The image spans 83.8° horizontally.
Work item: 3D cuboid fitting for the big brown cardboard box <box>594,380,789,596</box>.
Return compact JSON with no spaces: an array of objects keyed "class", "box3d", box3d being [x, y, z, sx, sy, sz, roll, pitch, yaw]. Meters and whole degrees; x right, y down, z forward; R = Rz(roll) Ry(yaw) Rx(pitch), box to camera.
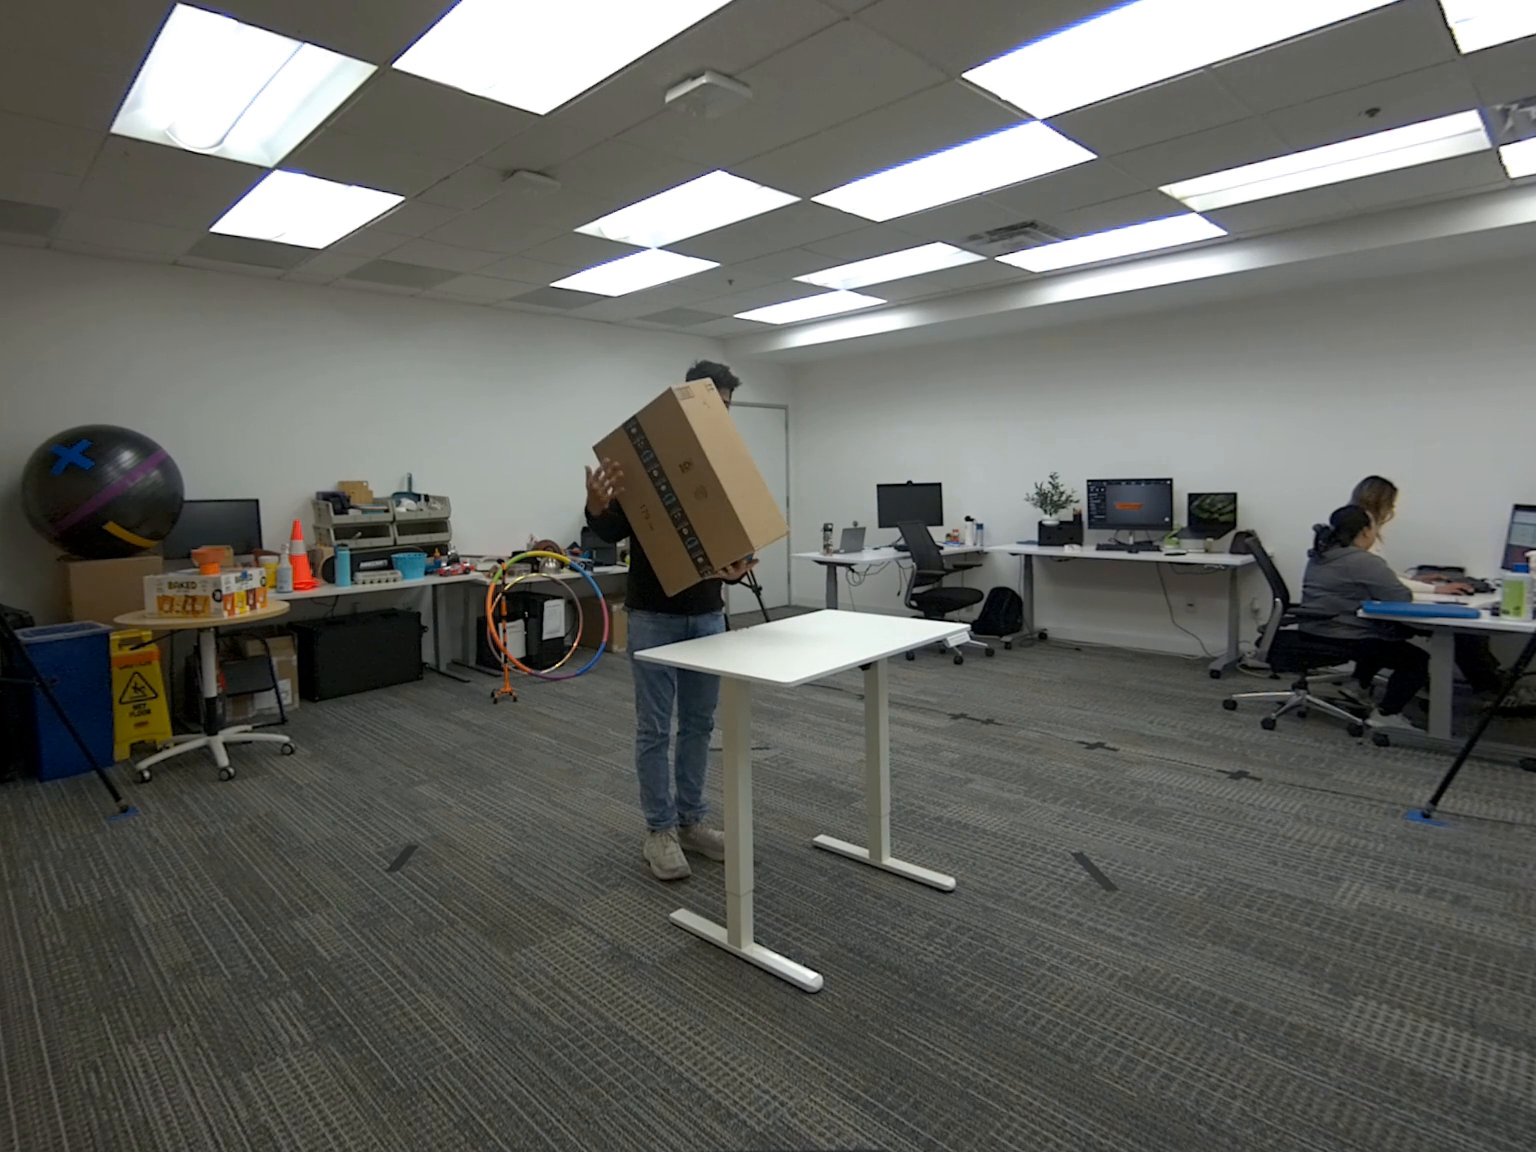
[{"class":"big brown cardboard box","box3d":[-0.251,-0.271,2.791,0.423,0.589,0.230,-28,0,37]}]
